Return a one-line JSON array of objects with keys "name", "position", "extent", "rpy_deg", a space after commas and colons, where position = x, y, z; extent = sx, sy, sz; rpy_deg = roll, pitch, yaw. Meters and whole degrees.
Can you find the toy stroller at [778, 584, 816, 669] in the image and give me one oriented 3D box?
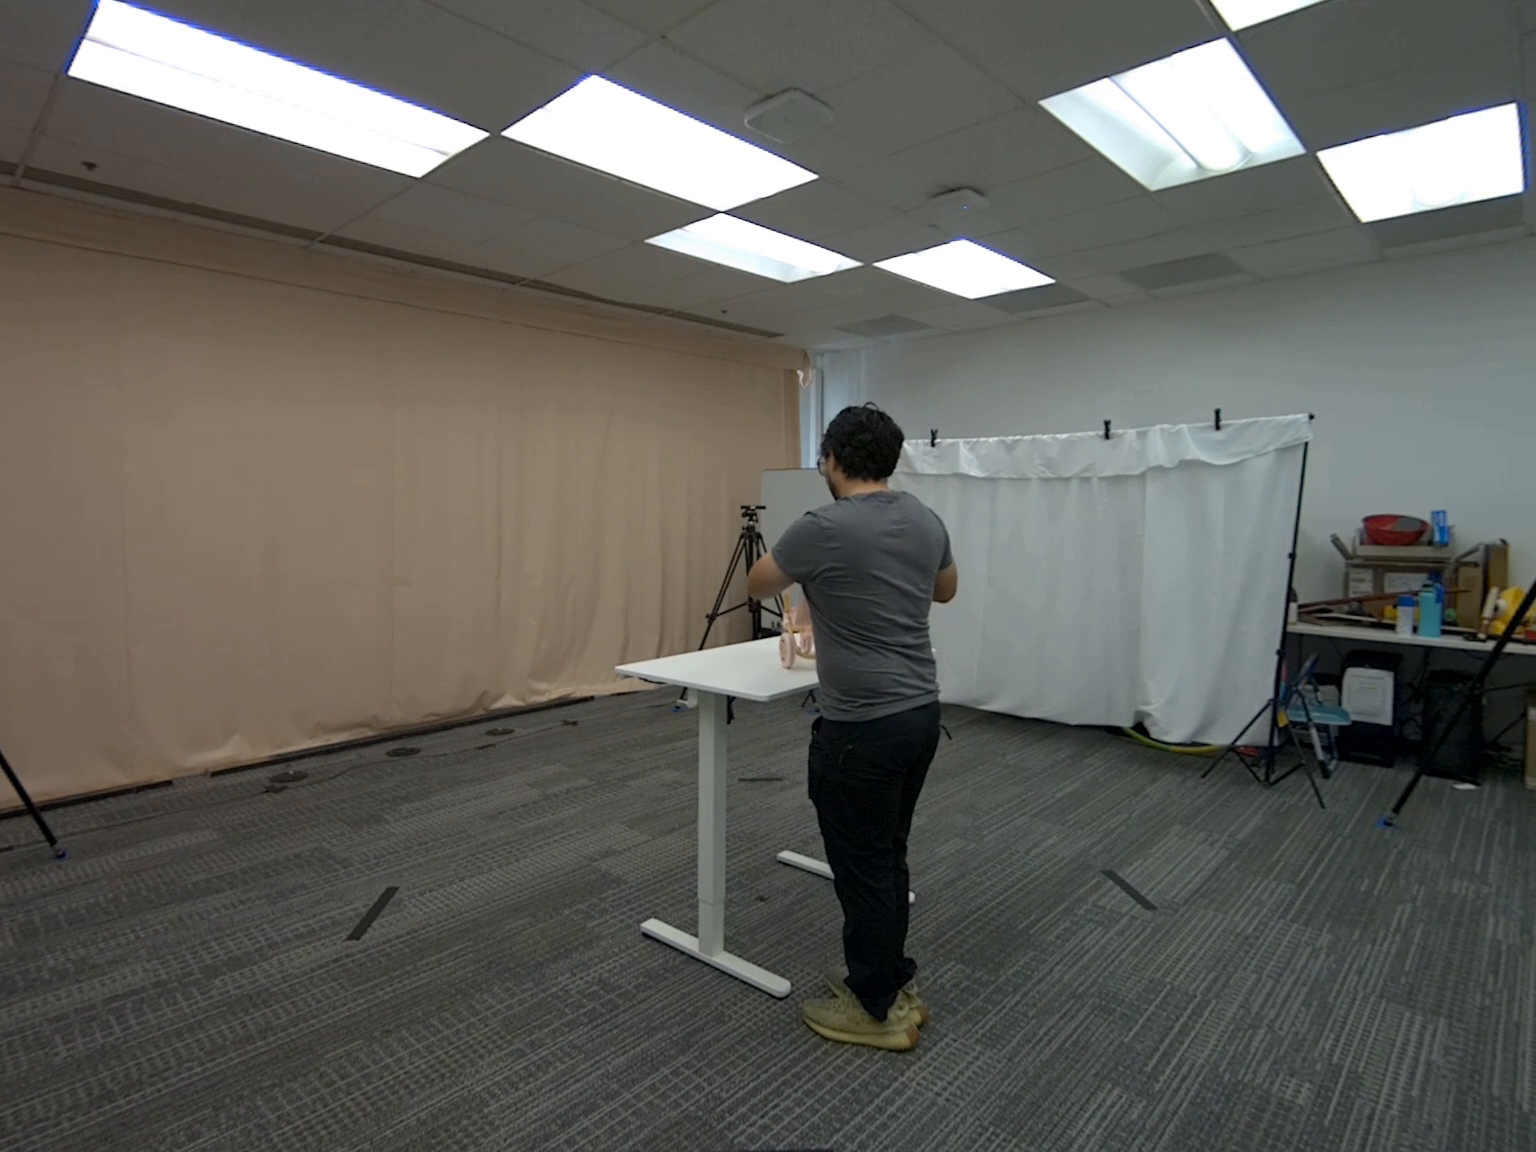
[{"name": "toy stroller", "position": [0.179, 0.060, 2.713], "extent": [0.279, 0.529, 0.347], "rpy_deg": [0, 19, -7]}]
